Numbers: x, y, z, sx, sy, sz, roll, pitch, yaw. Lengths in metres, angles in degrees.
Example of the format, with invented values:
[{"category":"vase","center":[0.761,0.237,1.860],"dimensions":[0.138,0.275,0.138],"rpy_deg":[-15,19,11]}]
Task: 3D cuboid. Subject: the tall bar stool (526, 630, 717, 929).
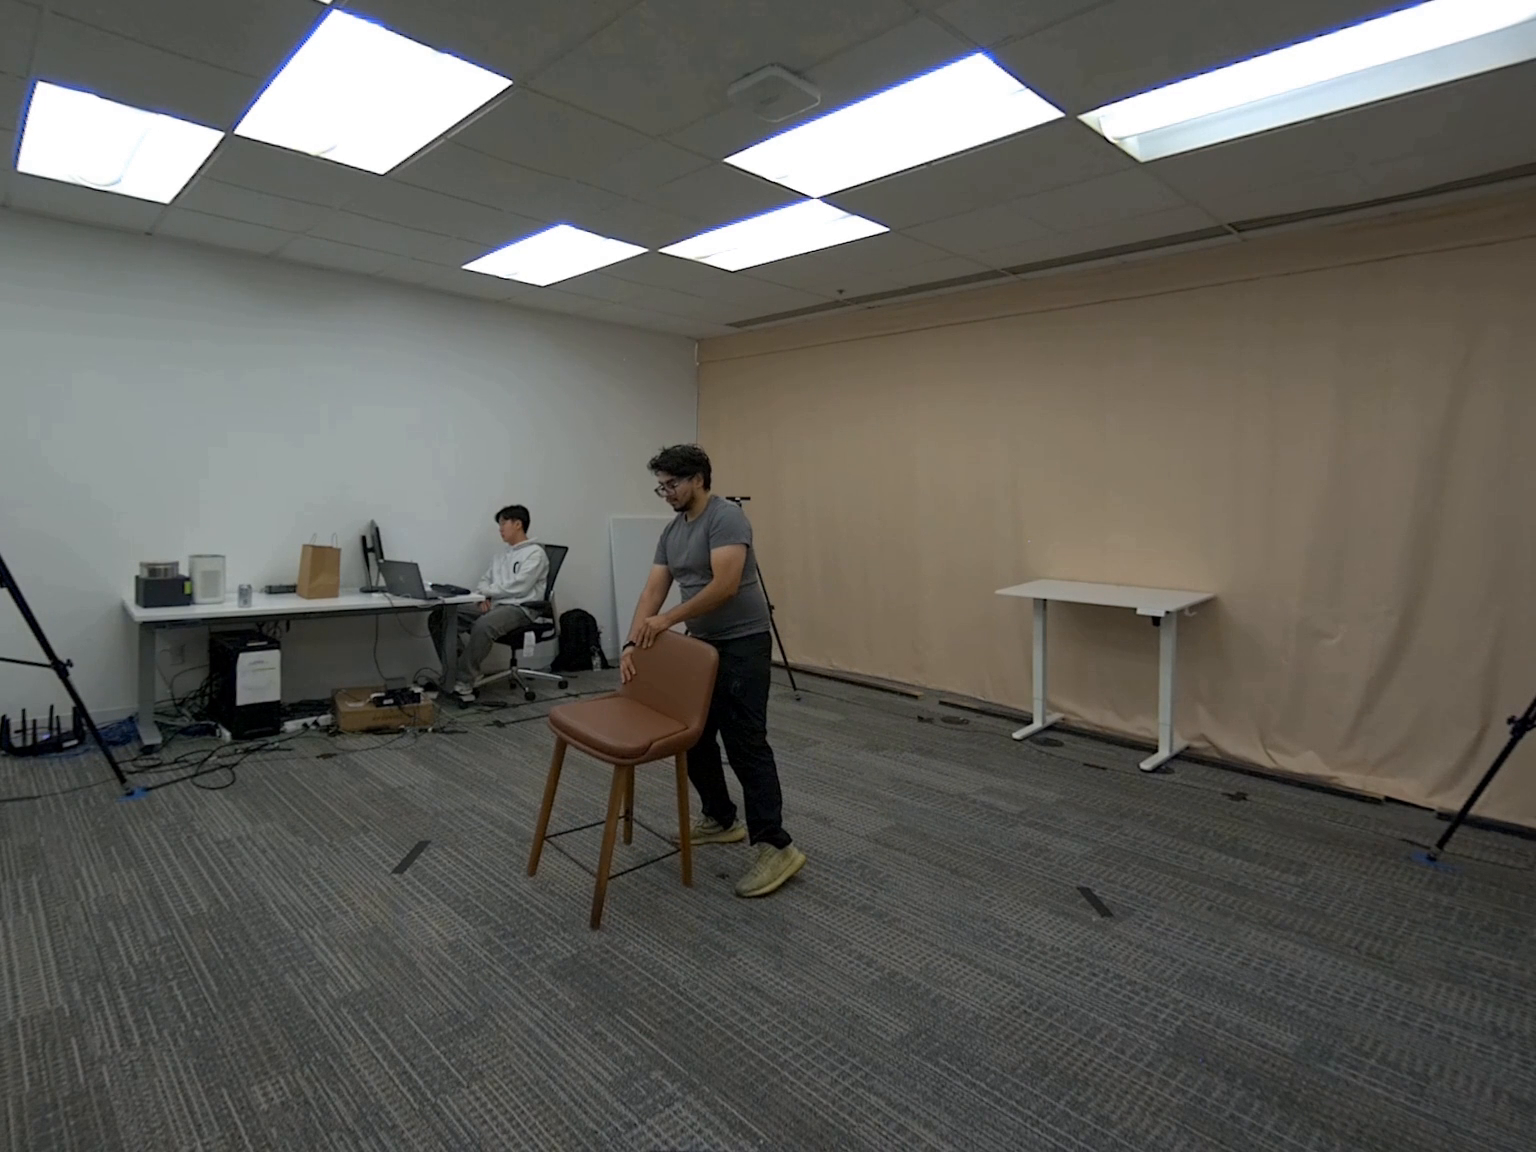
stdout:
[{"category":"tall bar stool","center":[-0.502,0.660,2.935],"dimensions":[0.469,0.886,0.456],"rpy_deg":[15,9,42]}]
